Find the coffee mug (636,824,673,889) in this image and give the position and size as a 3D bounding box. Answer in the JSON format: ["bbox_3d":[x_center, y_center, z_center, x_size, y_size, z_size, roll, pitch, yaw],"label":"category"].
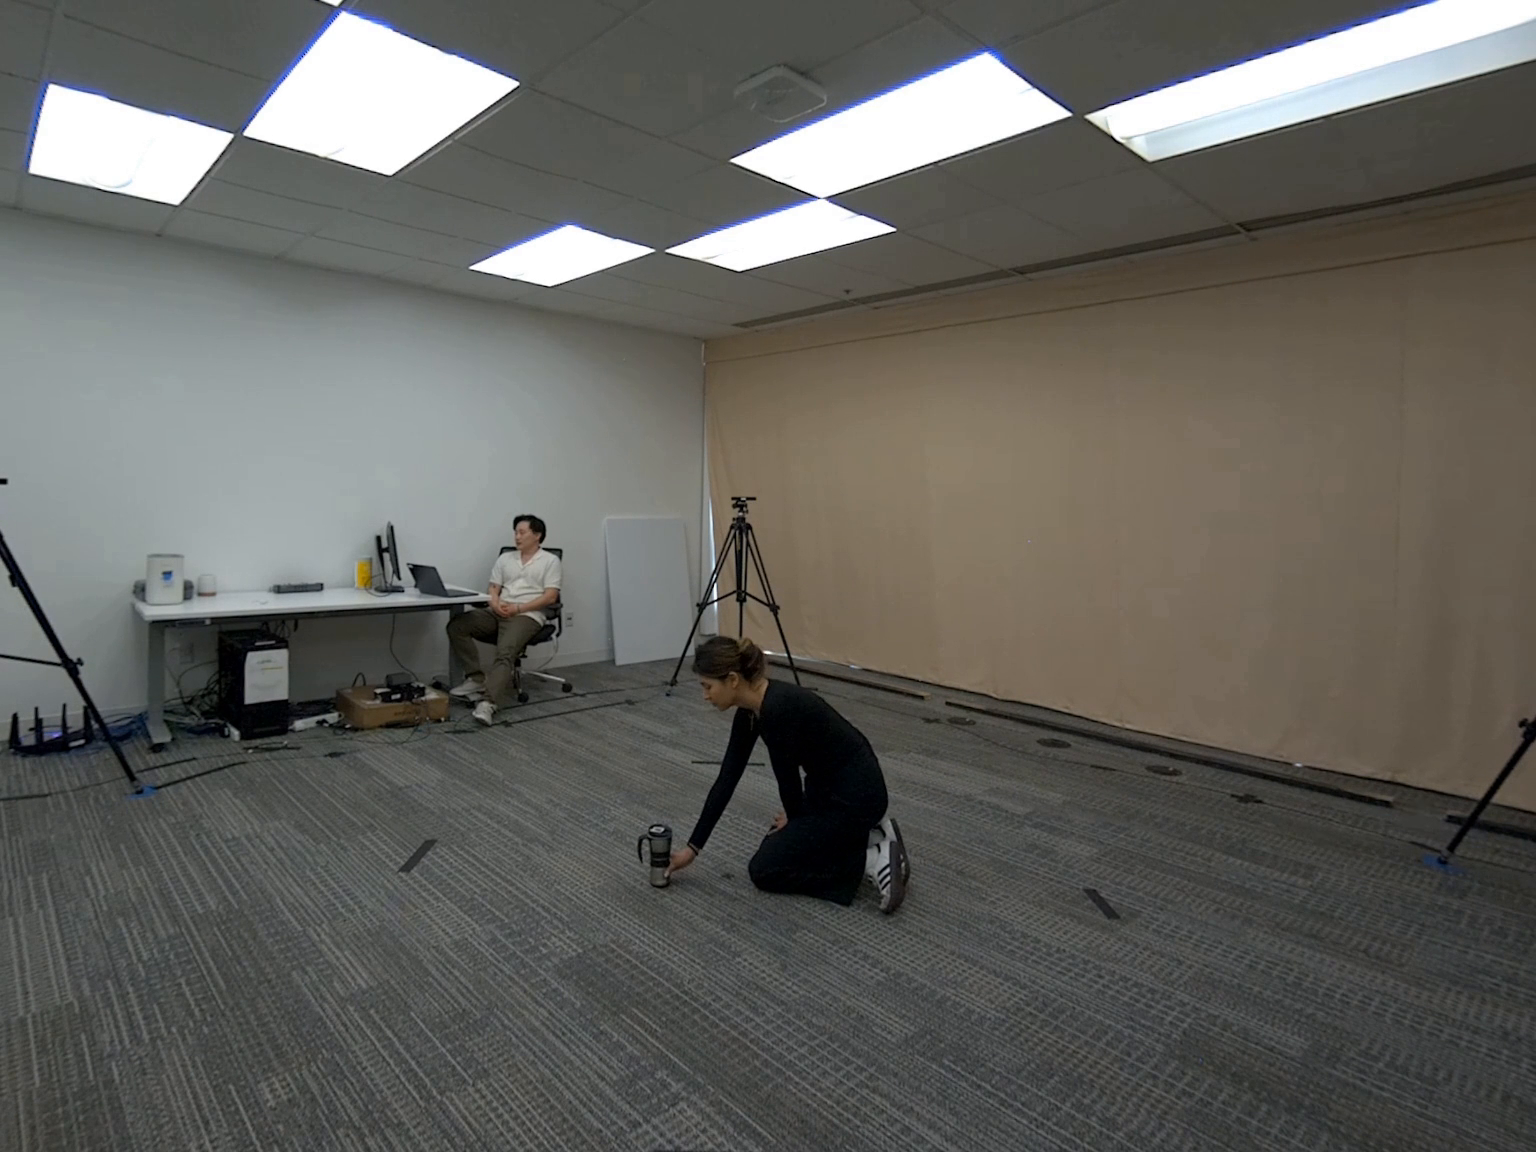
[{"bbox_3d":[-0.413,1.002,3.025,0.123,0.202,0.087,2,3,9],"label":"coffee mug"}]
